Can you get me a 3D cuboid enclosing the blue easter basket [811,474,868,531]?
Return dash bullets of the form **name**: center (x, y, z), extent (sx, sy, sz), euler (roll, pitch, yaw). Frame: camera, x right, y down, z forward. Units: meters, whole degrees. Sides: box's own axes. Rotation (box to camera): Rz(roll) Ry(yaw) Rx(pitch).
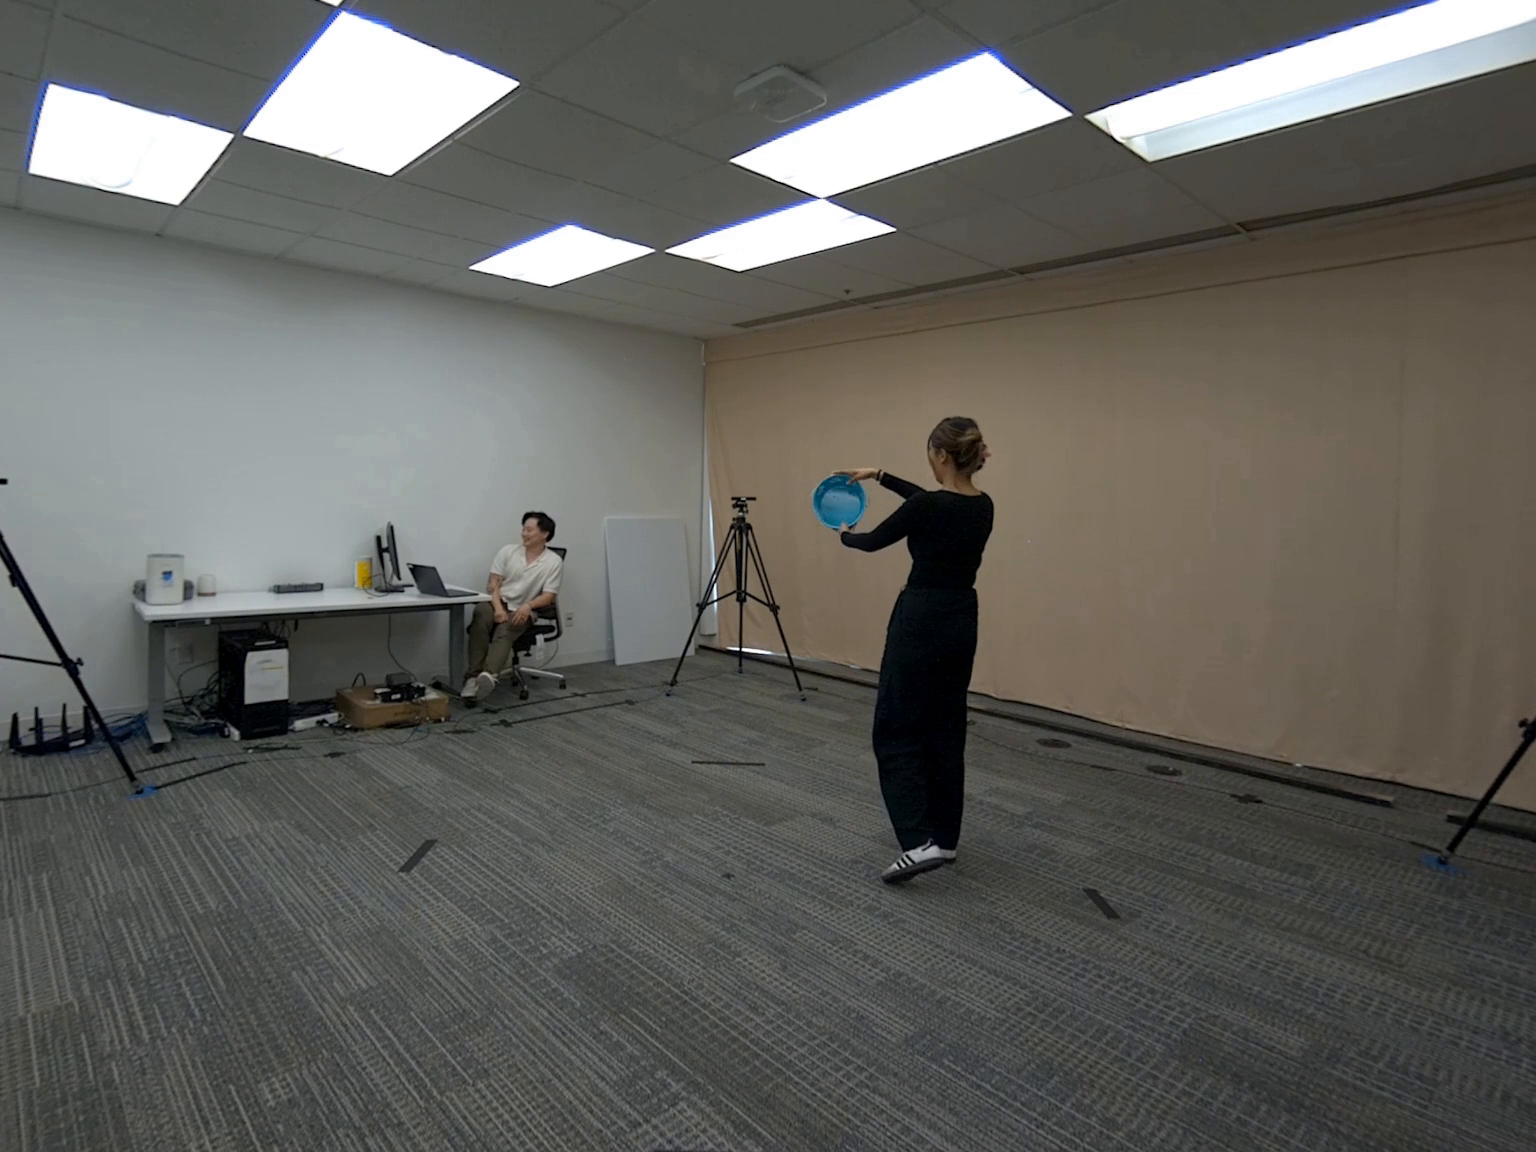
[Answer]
- **blue easter basket**: center (0.308, -0.315, 3.669), extent (0.246, 0.244, 0.154), euler (2, -2, 12)
